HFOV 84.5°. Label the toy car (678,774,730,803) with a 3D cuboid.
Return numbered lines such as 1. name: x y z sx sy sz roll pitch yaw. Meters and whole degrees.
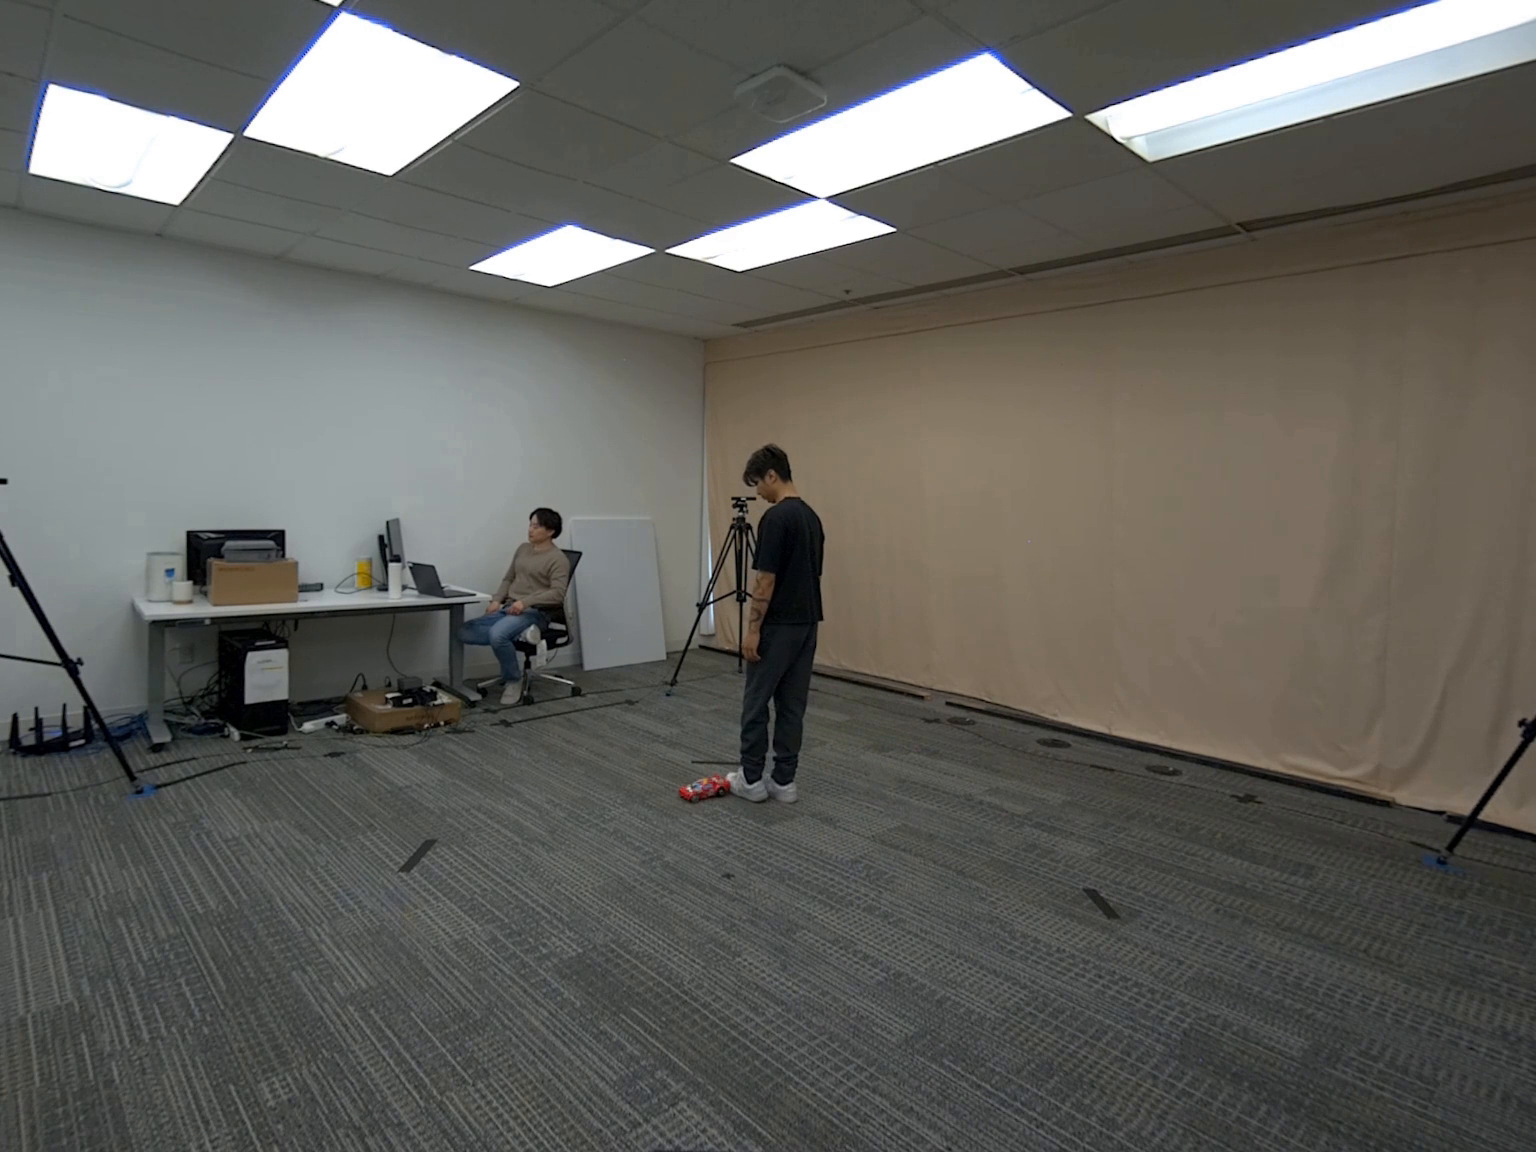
1. toy car: -0.307 0.999 3.947 0.250 0.082 0.133 -16 13 -35
